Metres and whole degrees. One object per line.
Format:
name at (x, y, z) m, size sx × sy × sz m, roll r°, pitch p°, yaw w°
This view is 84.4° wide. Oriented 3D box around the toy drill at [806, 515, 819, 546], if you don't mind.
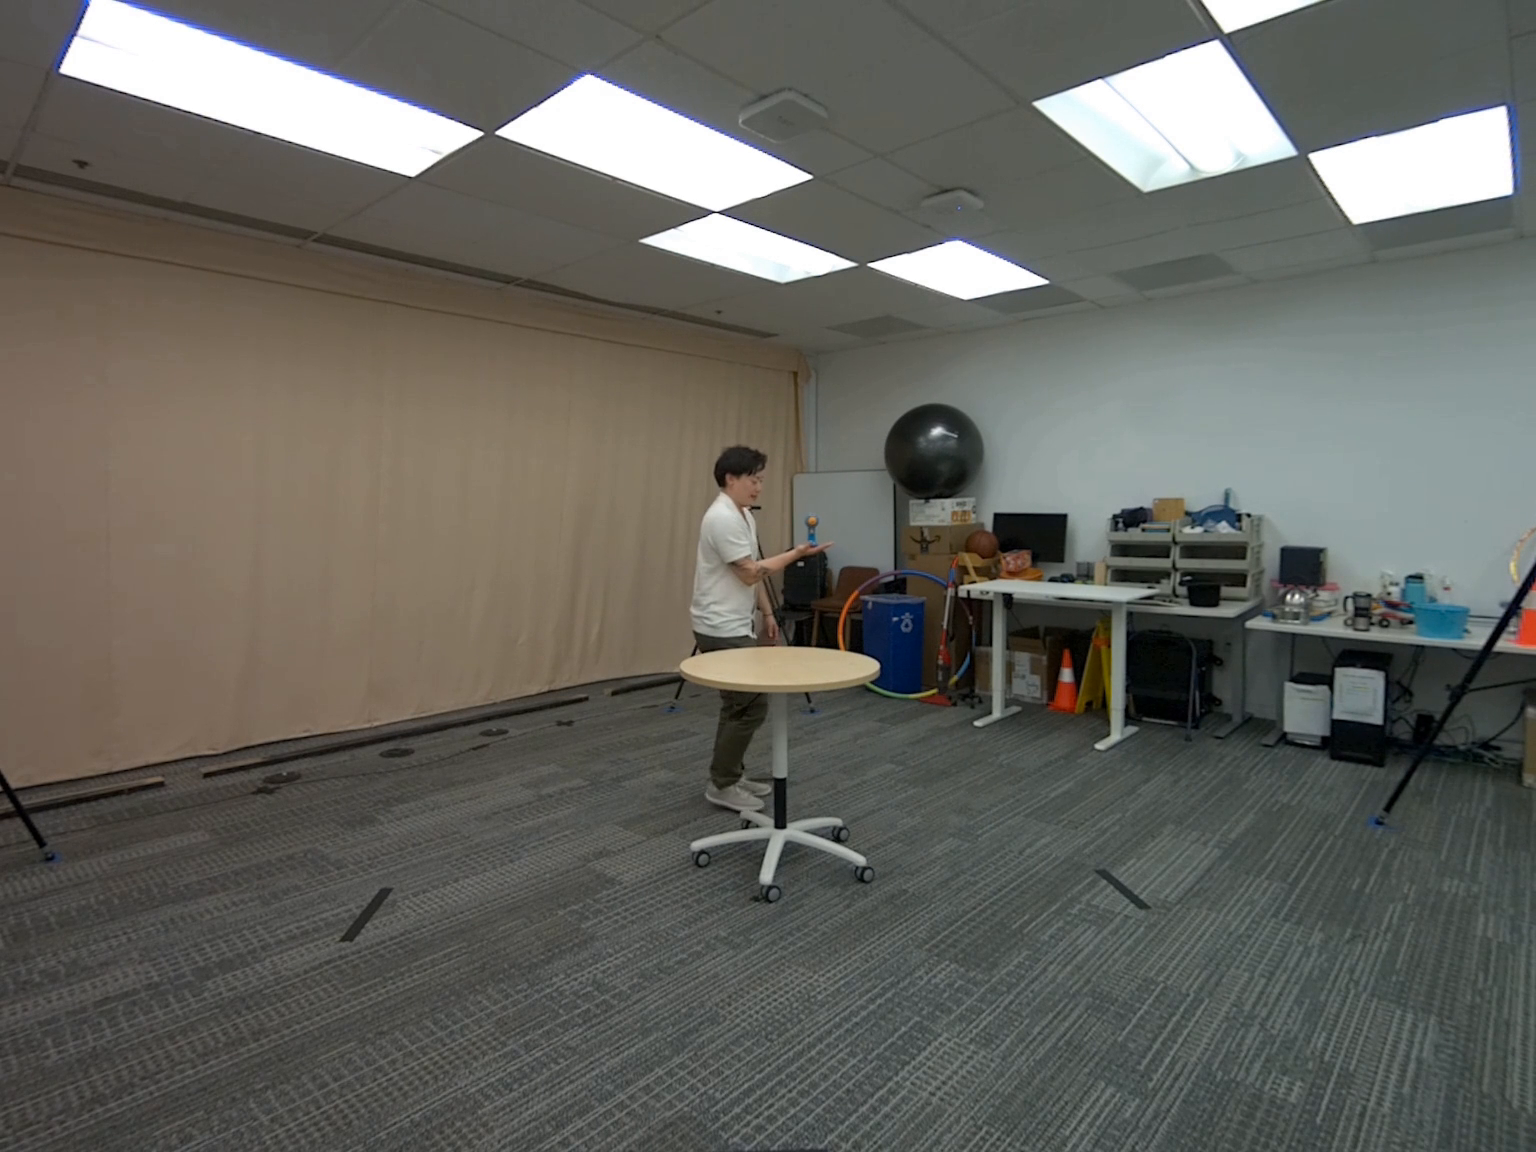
toy drill at (0.190, -0.199, 3.661) m, size 0.061 × 0.146 × 0.171 m, roll -2°, pitch 2°, yaw -5°
